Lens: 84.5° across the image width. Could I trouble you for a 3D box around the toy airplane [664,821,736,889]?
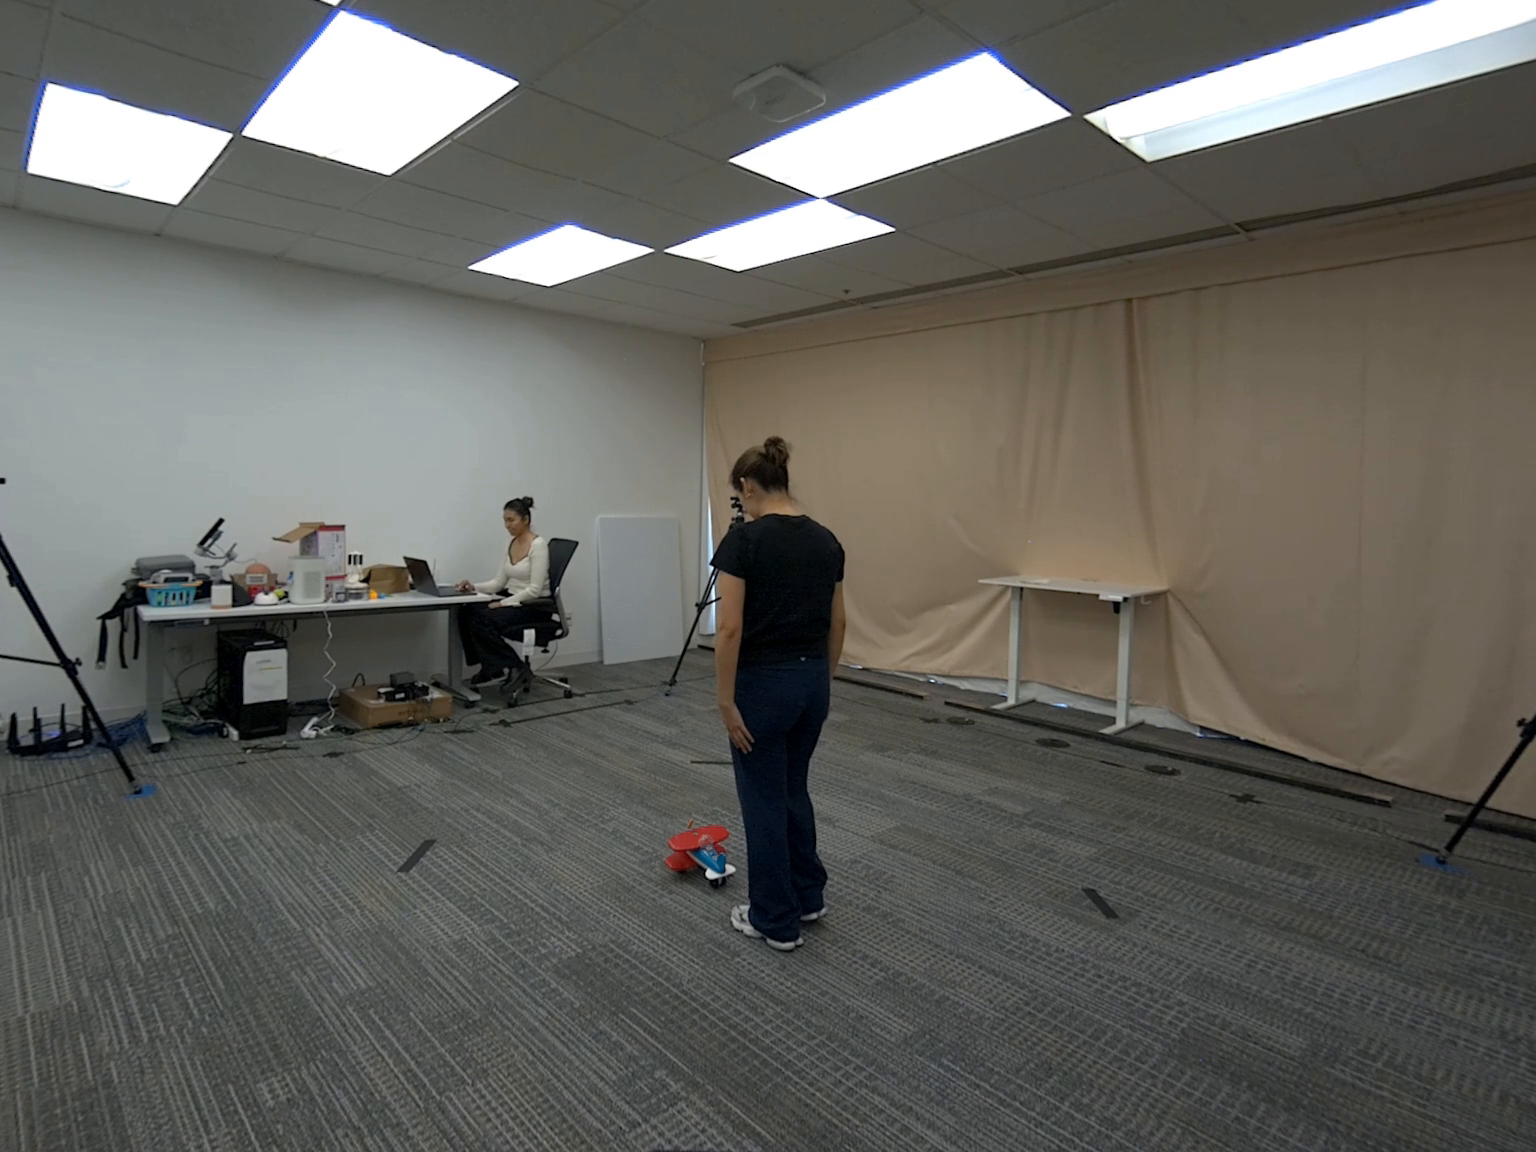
[{"bbox_3d":[-0.229,1.031,3.086,0.264,0.156,0.247,1,4,22],"label":"toy airplane"}]
